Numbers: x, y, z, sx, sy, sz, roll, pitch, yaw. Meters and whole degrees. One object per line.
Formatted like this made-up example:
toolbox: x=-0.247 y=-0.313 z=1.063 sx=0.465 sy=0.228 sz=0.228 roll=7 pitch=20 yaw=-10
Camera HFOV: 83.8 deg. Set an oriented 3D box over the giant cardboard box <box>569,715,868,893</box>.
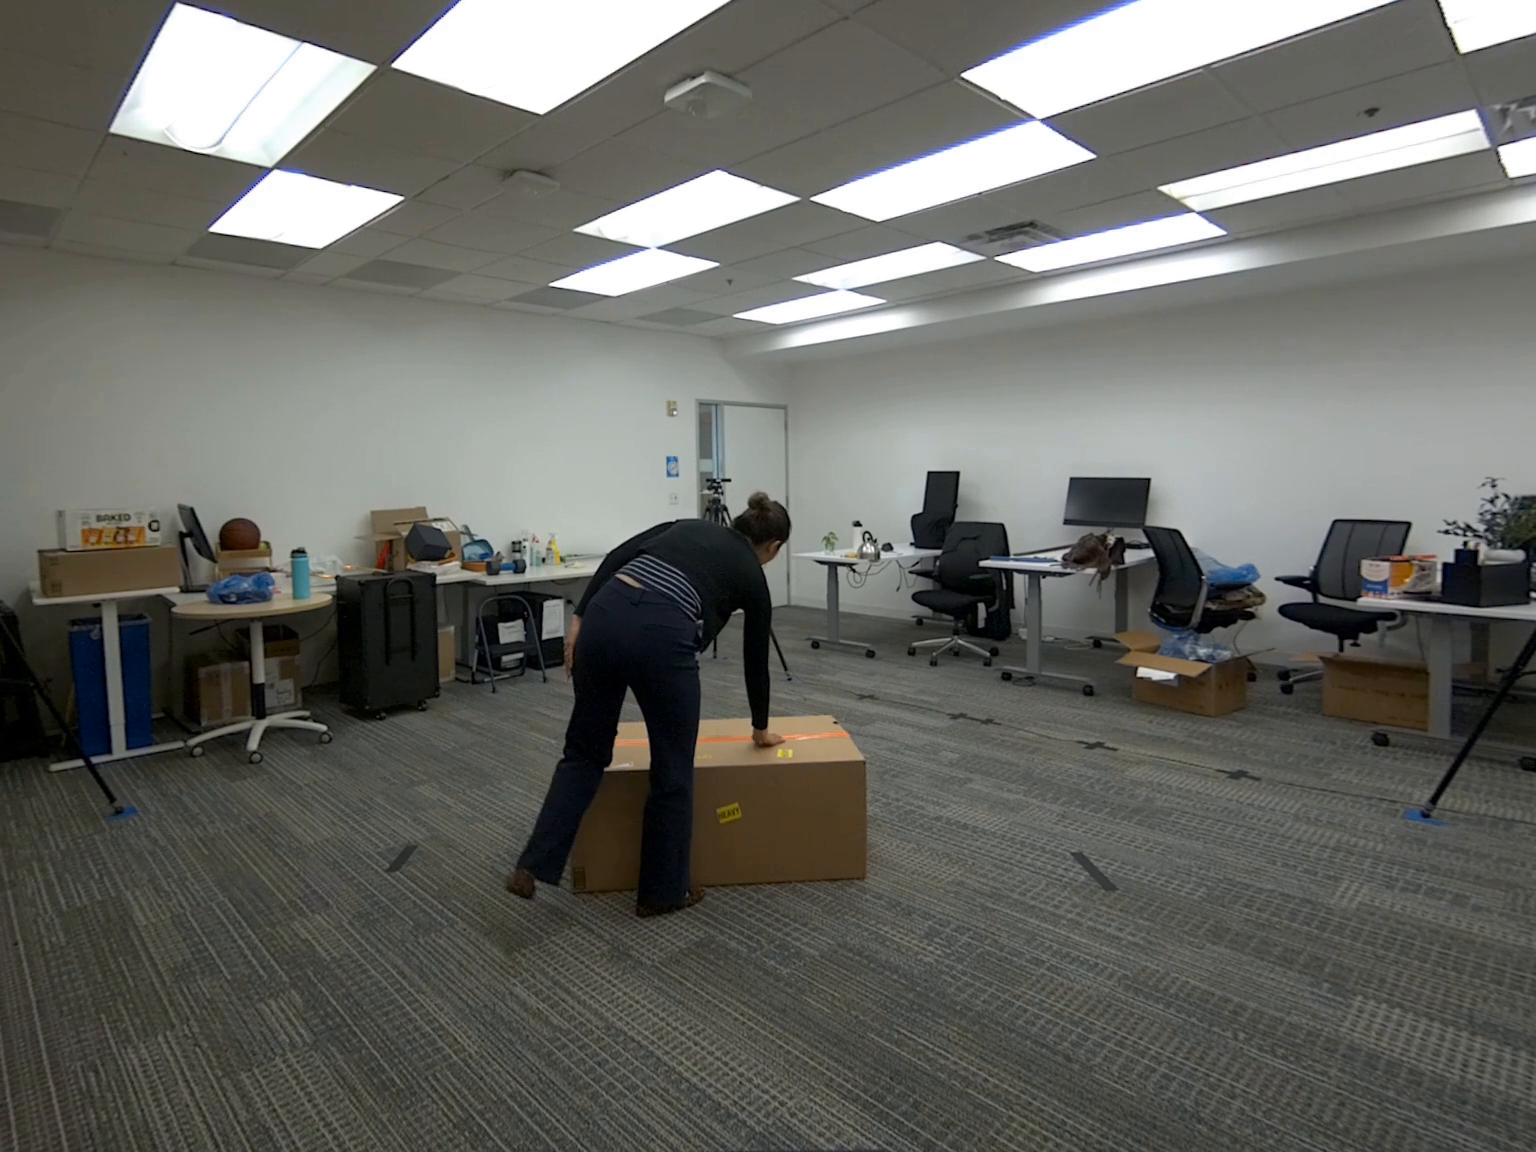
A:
giant cardboard box: x=-0.201 y=0.816 z=3.205 sx=1.021 sy=0.424 sz=0.583 roll=-1 pitch=6 yaw=-5
